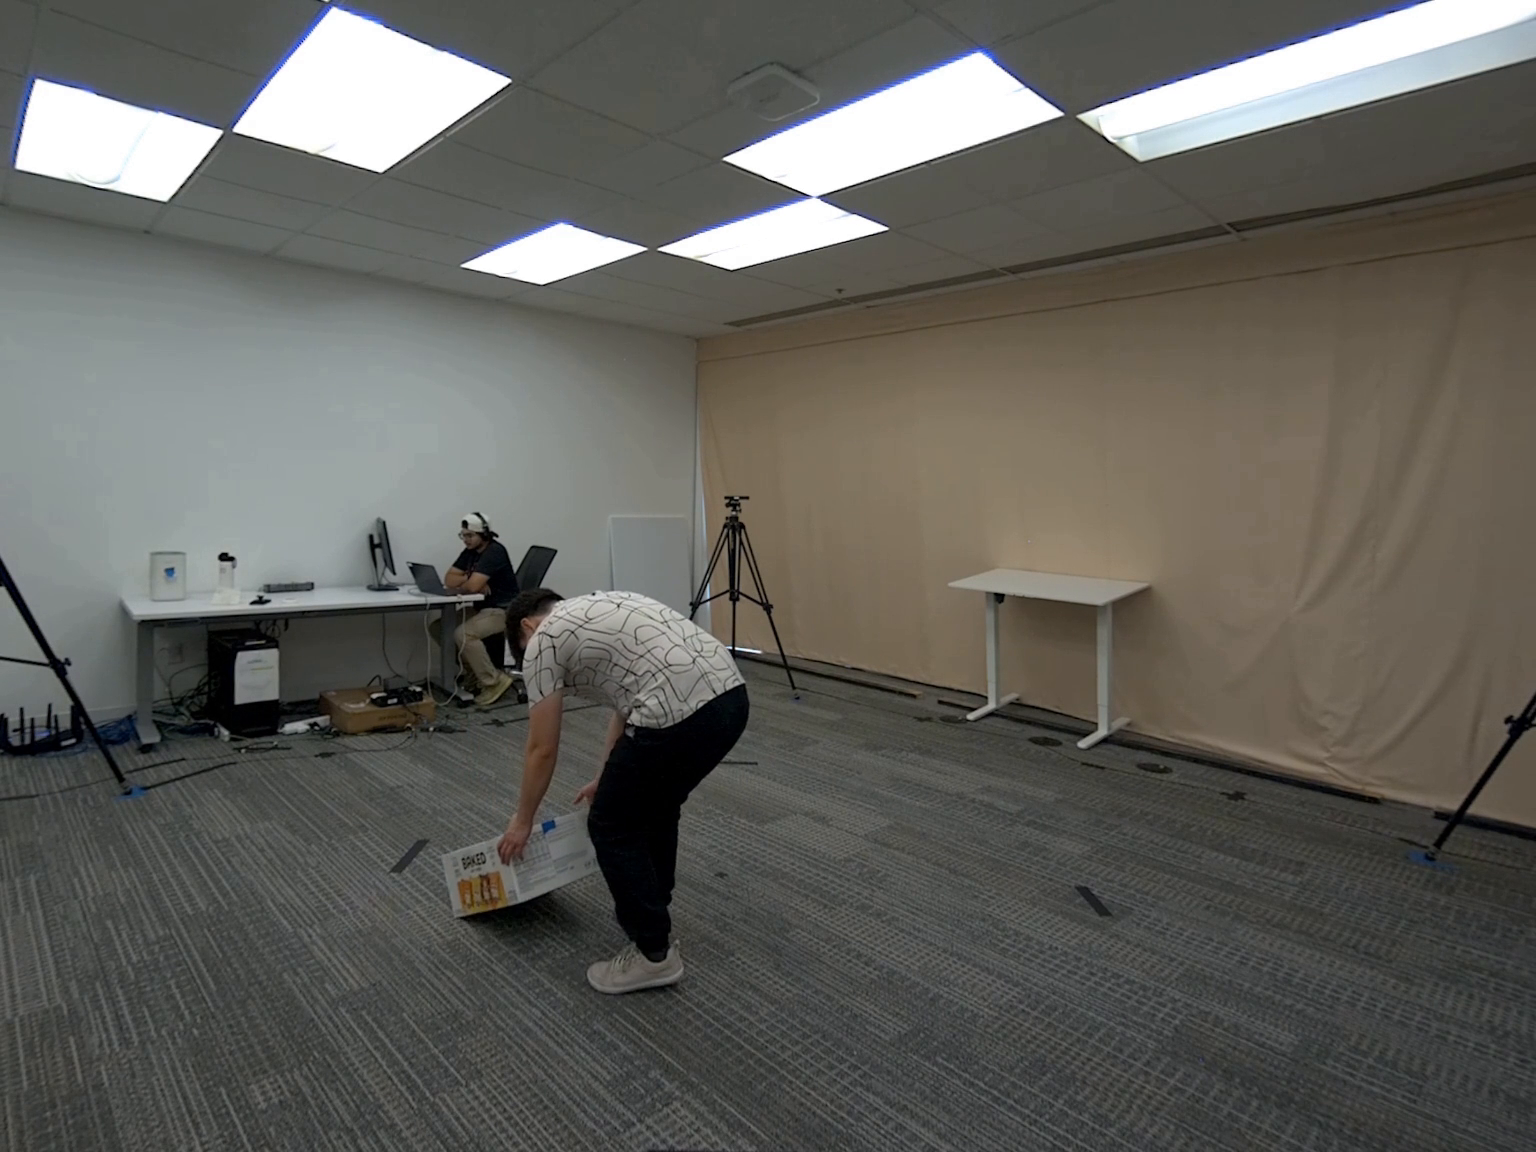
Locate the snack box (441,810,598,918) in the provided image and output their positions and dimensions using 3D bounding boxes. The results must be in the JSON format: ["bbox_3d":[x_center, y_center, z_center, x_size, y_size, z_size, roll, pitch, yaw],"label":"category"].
[{"bbox_3d":[-0.810,0.946,2.765,0.409,0.208,0.333,-28,-15,39],"label":"snack box"}]
